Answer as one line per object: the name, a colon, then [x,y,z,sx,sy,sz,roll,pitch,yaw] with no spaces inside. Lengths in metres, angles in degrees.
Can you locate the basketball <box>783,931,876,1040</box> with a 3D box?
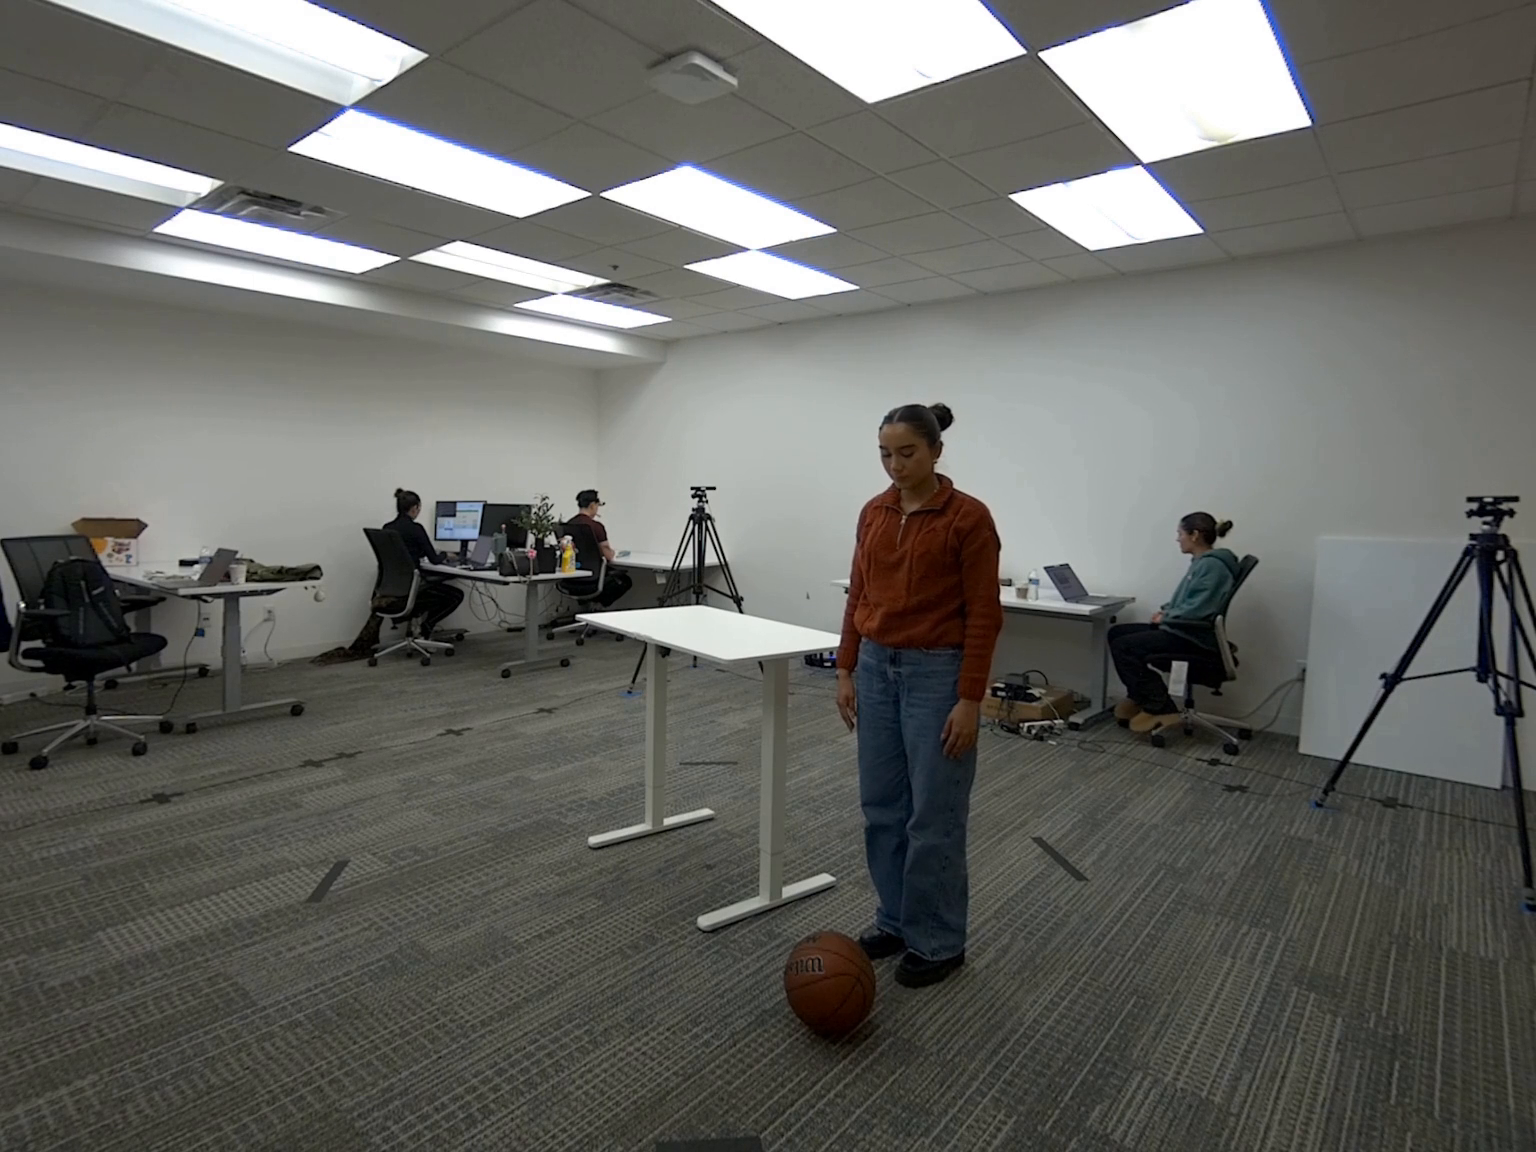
basketball: [0.152,1.036,2.209,0.235,0.235,0.237,1,4,-2]
